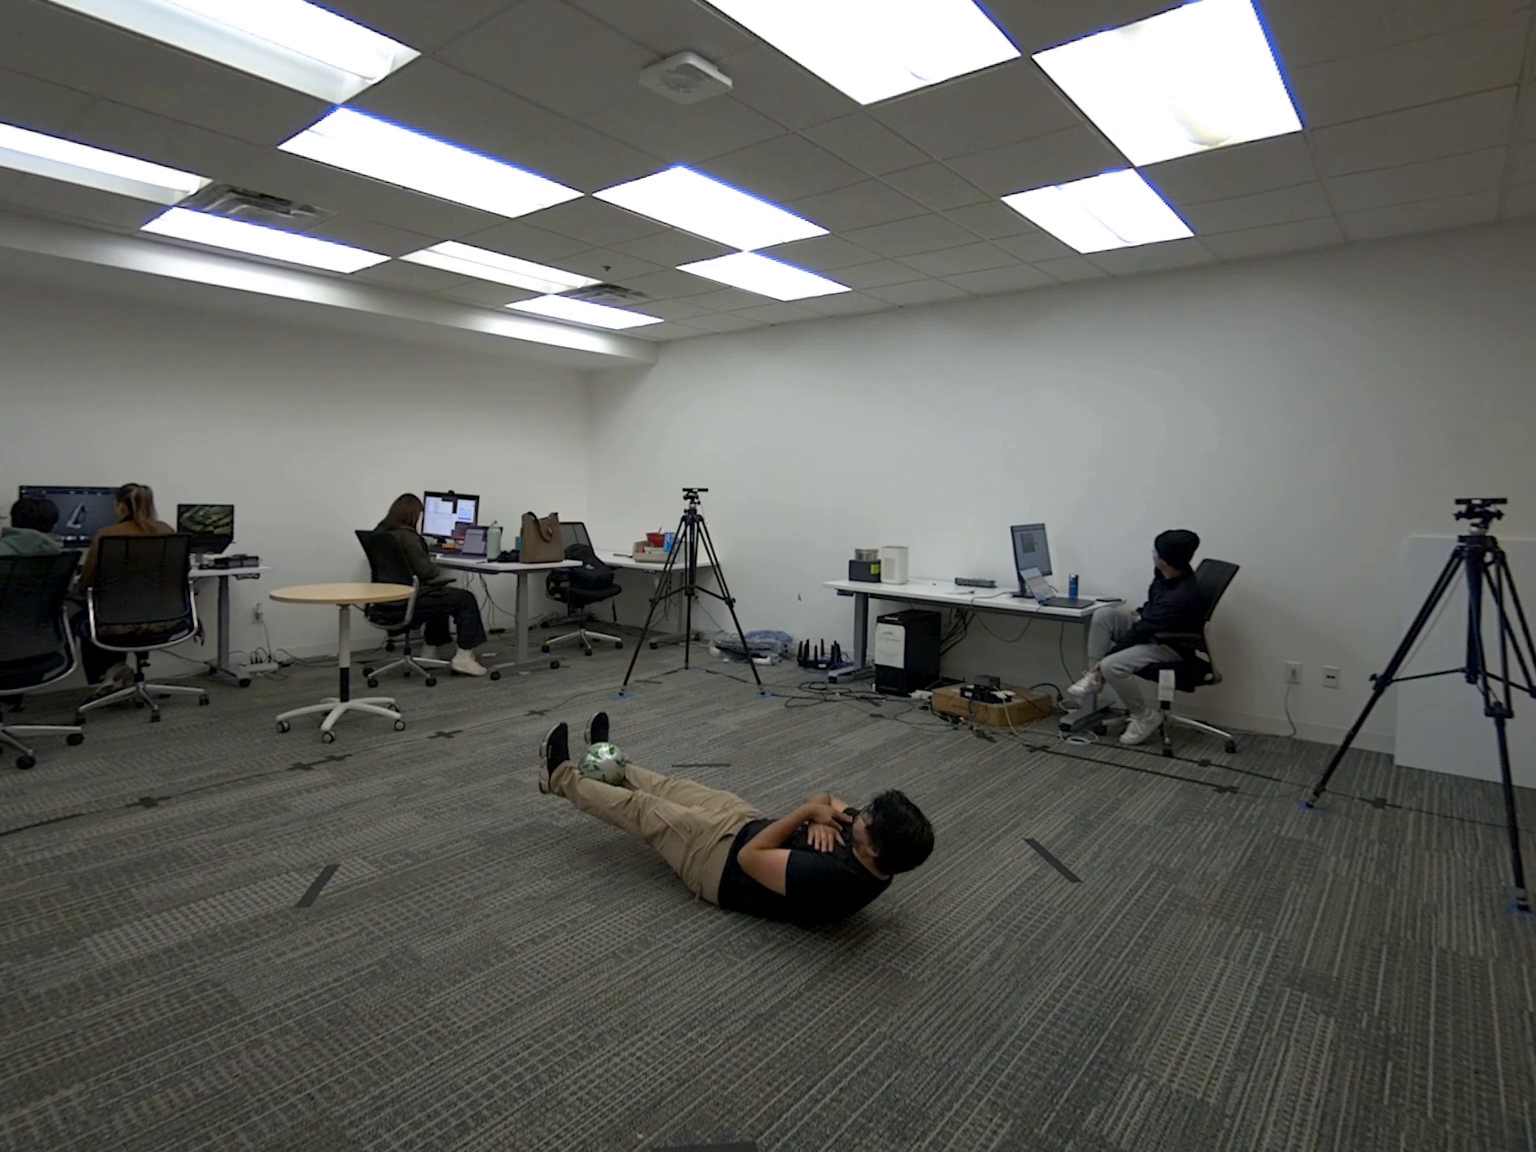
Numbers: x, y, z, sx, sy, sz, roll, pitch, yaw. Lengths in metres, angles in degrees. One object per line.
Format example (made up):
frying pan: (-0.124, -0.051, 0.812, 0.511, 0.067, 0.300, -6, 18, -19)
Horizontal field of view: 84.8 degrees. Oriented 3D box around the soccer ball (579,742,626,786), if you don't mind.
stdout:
soccer ball: (-0.671, 0.757, 3.362, 0.187, 0.187, 0.188, 0, 4, -2)
